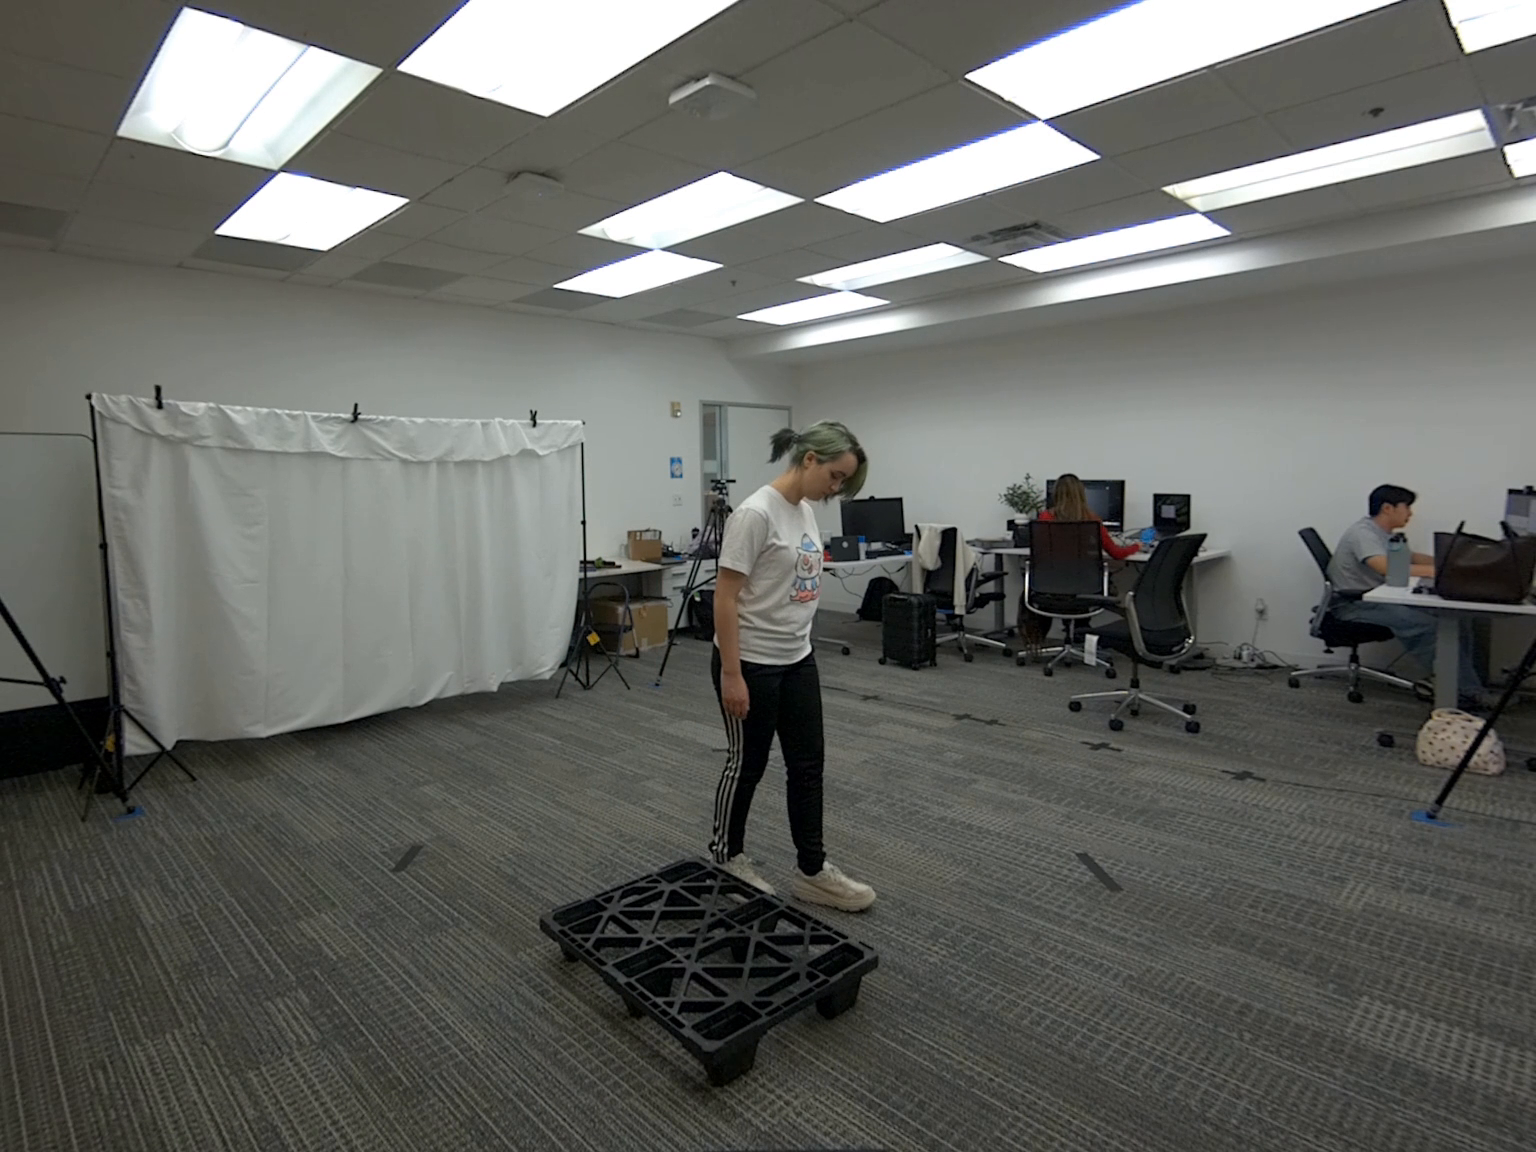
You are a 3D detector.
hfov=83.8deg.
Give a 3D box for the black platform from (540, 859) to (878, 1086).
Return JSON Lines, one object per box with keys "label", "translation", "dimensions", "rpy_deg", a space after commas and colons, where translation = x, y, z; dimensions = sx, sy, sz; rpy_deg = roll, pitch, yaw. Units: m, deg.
{"label": "black platform", "translation": [-0.182, 1.064, 2.401], "dimensions": [0.589, 0.142, 0.831], "rpy_deg": [-7, 9, -41]}
